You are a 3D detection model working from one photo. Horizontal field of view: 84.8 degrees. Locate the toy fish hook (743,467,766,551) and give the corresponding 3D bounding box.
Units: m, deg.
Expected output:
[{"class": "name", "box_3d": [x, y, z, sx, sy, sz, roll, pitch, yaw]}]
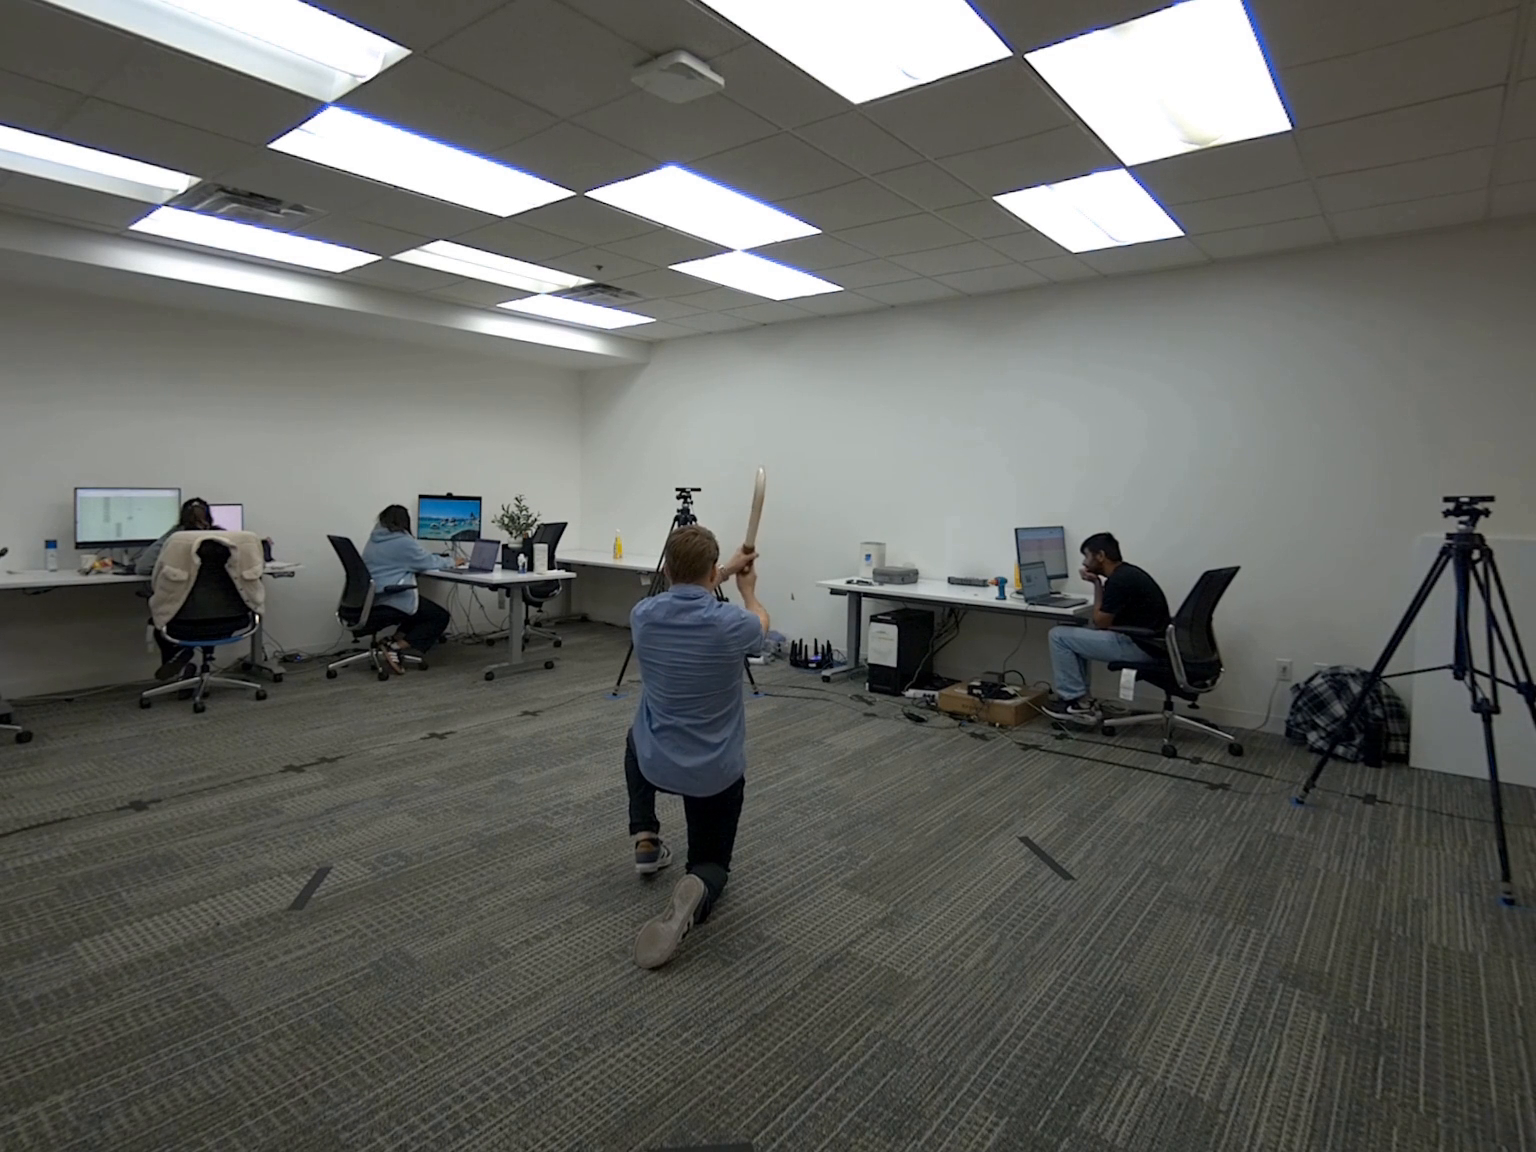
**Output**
[{"class": "toy fish hook", "box_3d": [-0.073, -0.175, 3.291, 0.048, 0.497, 0.230, 9, 32, -6]}]
